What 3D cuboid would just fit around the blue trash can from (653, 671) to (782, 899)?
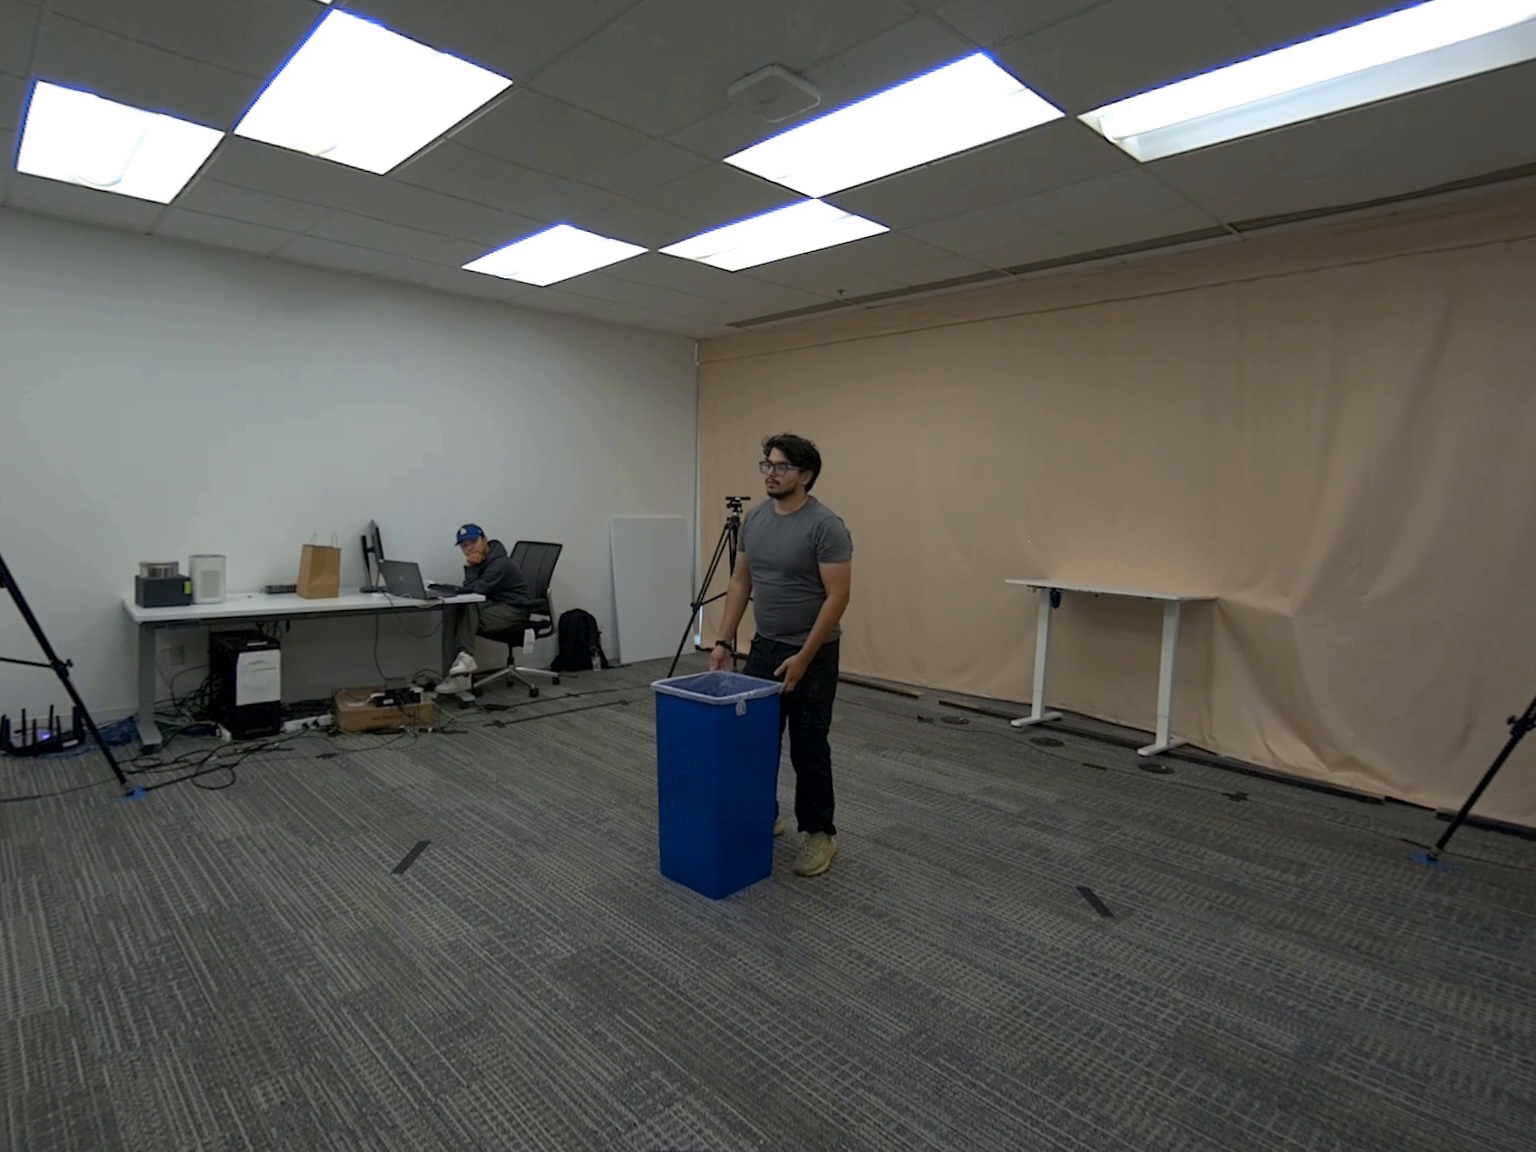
[{"bbox_3d":[-0.202,0.749,3.099,0.383,0.712,0.369,5,4,42],"label":"blue trash can"}]
